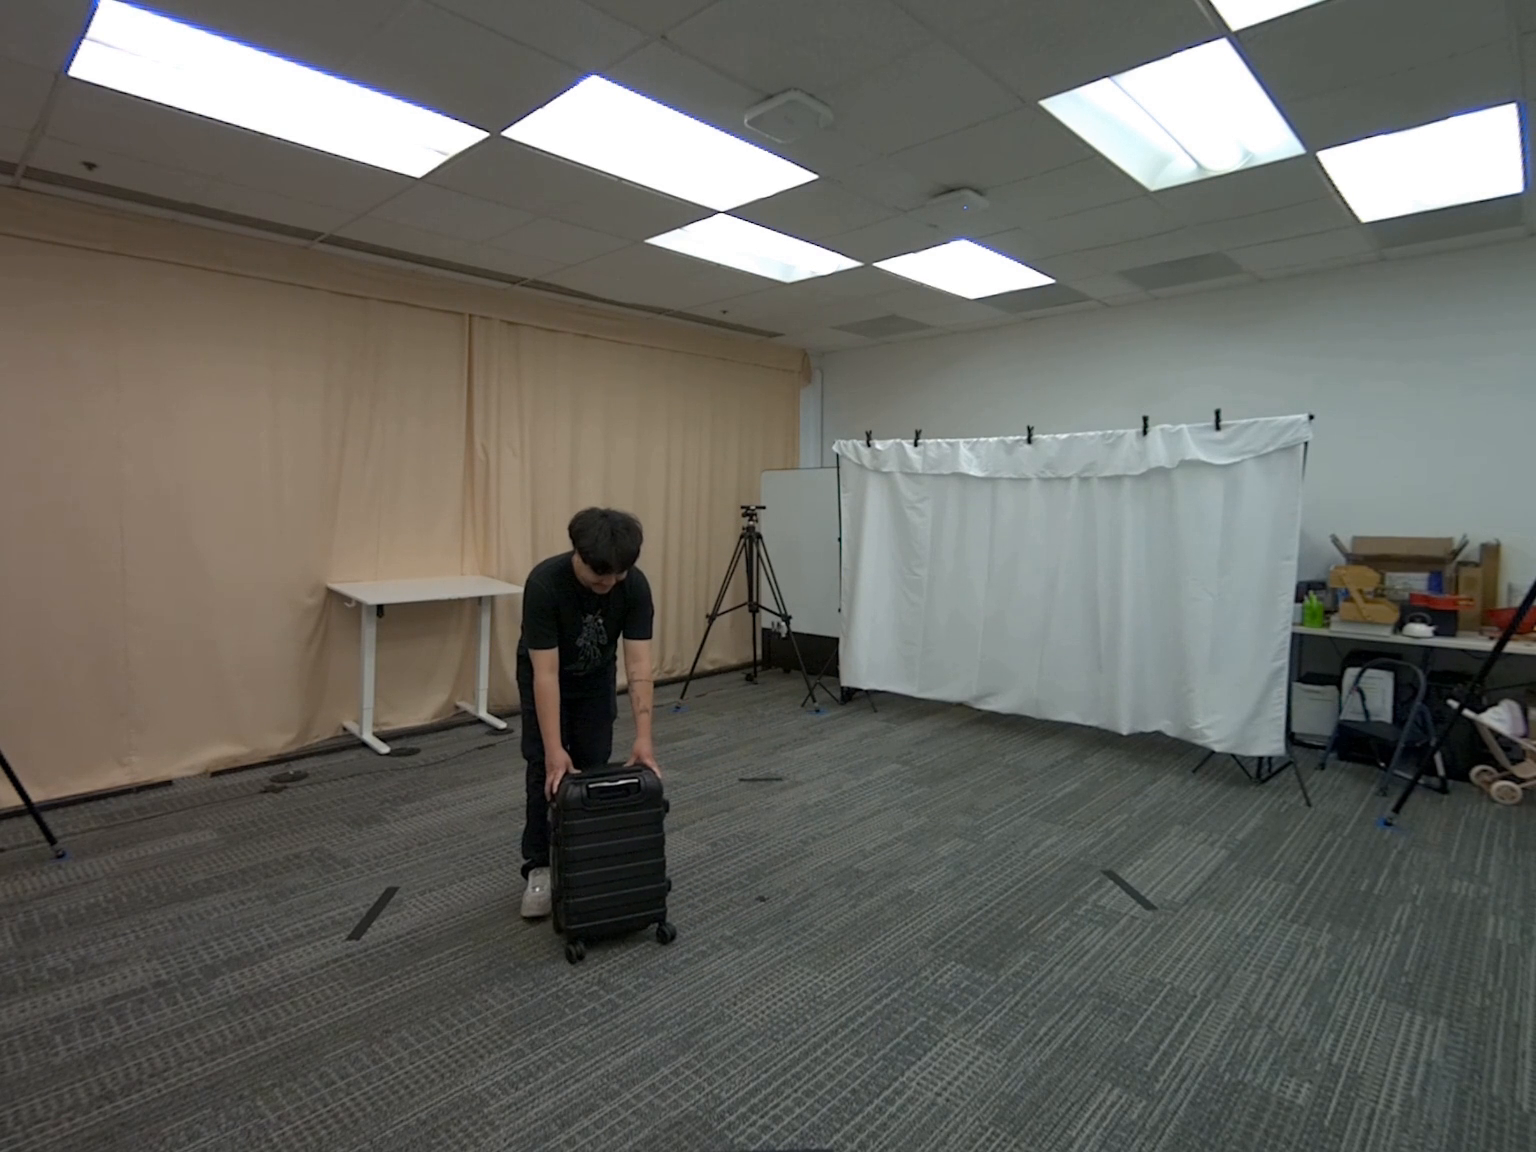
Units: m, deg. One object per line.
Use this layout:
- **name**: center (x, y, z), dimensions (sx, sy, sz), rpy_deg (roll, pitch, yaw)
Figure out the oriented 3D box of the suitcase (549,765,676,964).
- **suitcase**: center (-0.518, 0.894, 2.733), dimensions (0.367, 0.549, 0.254), rpy_deg (-2, 1, -23)
